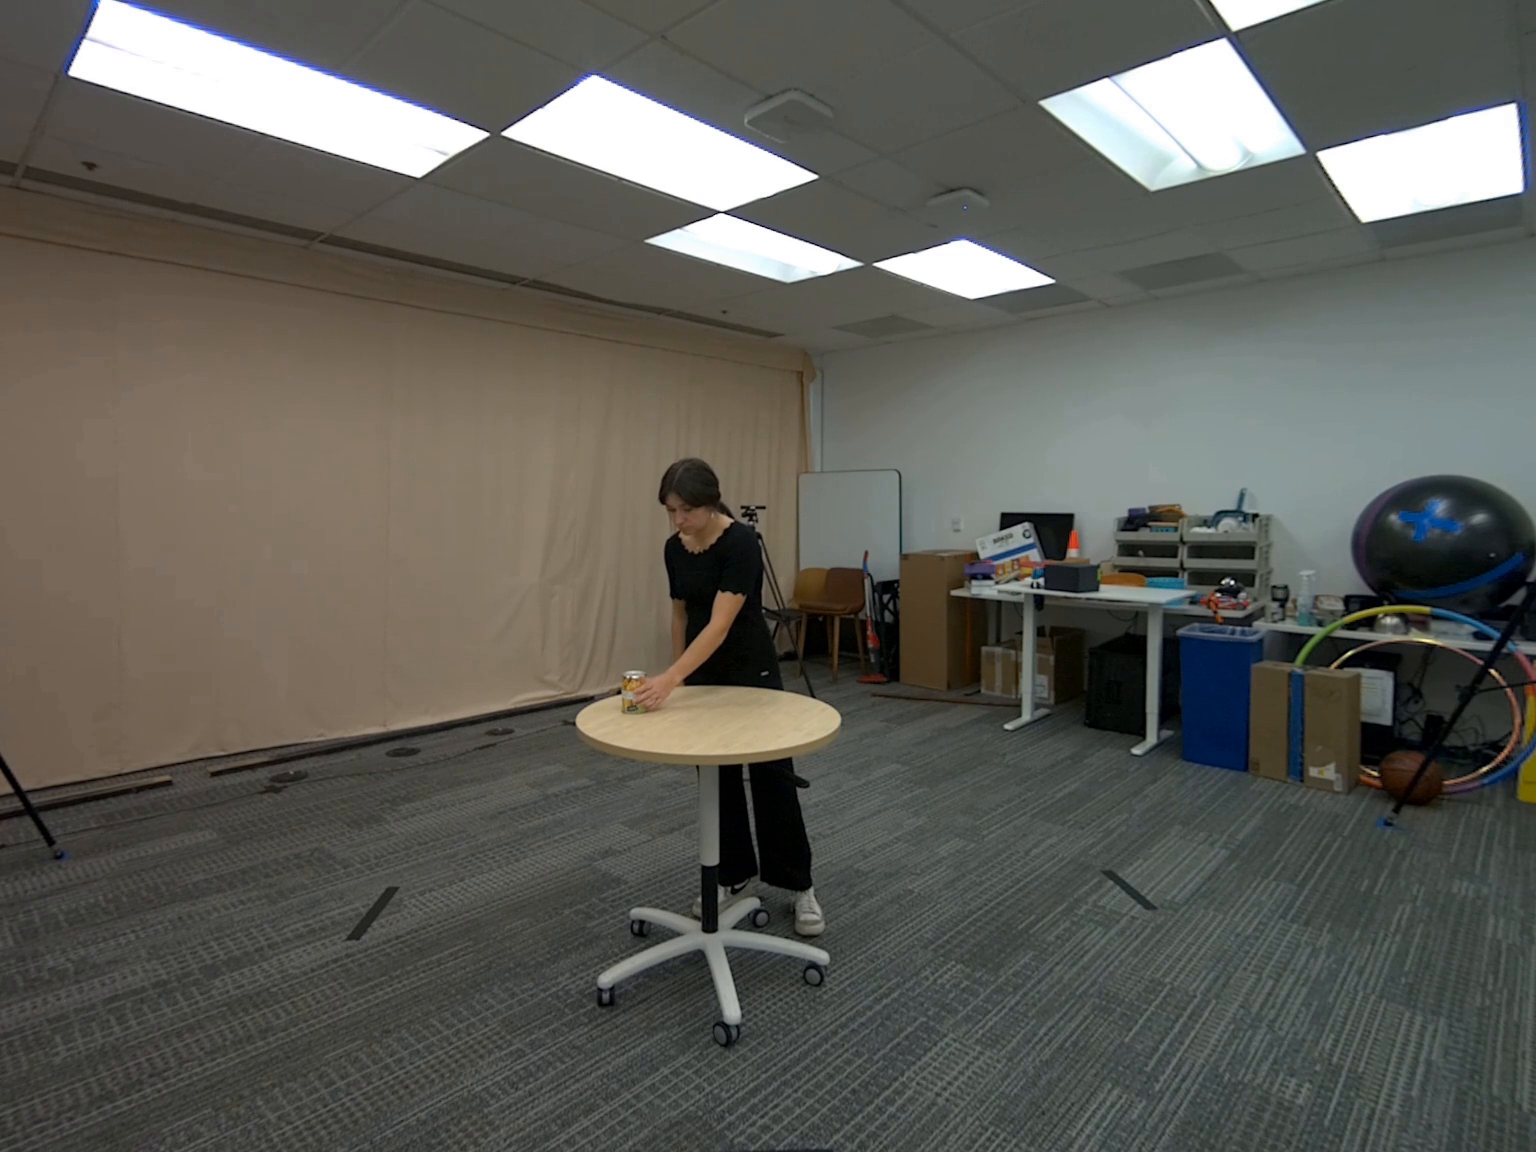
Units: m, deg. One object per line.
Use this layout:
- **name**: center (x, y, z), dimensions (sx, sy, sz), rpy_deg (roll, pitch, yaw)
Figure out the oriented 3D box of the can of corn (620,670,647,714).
- **can of corn**: center (-0.398, 0.346, 2.513), dimensions (0.074, 0.111, 0.074), rpy_deg (-1, 3, -2)
